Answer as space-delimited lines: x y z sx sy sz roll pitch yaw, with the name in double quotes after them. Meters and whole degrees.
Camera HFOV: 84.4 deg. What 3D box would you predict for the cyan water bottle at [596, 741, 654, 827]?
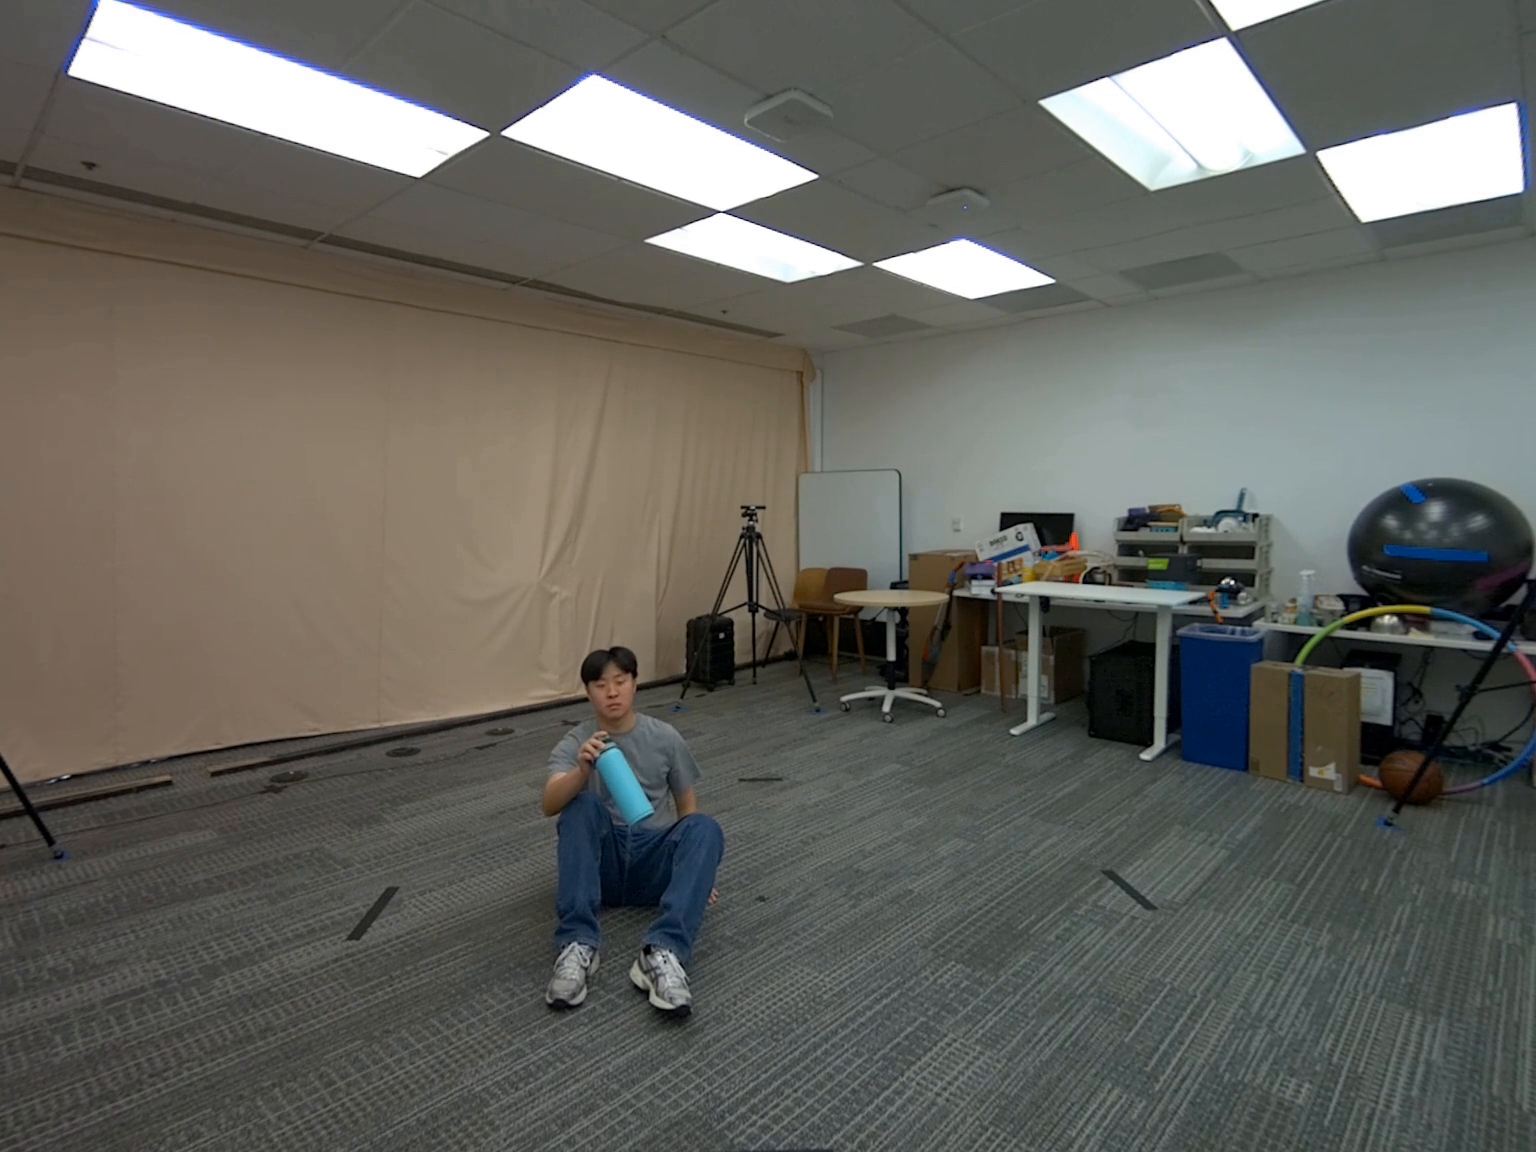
-0.457 0.625 2.560 0.091 0.289 0.091 -29 -18 -11 "cyan water bottle"
